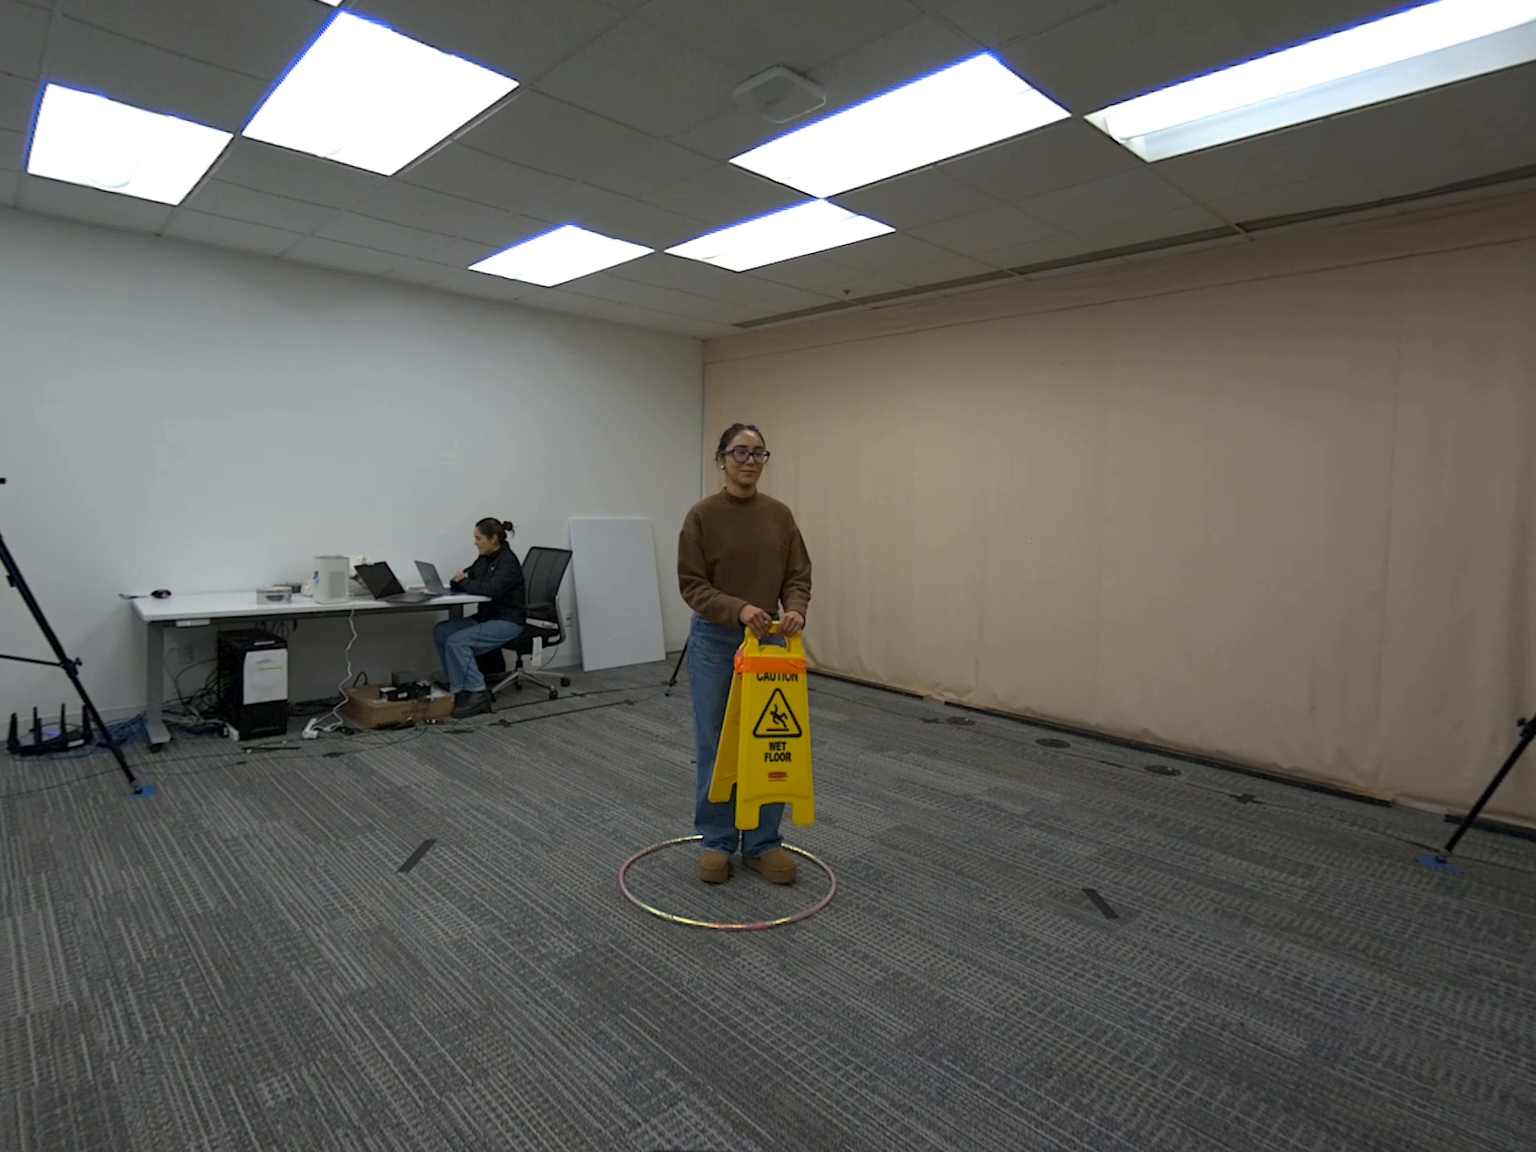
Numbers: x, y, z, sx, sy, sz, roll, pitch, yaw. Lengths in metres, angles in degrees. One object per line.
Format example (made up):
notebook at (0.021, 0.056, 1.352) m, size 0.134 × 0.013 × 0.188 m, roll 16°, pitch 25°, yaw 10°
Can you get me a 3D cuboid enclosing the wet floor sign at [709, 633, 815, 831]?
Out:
wet floor sign at (-0.006, 0.481, 2.835) m, size 0.277 × 0.645 × 0.295 m, roll 3°, pitch 2°, yaw -23°
